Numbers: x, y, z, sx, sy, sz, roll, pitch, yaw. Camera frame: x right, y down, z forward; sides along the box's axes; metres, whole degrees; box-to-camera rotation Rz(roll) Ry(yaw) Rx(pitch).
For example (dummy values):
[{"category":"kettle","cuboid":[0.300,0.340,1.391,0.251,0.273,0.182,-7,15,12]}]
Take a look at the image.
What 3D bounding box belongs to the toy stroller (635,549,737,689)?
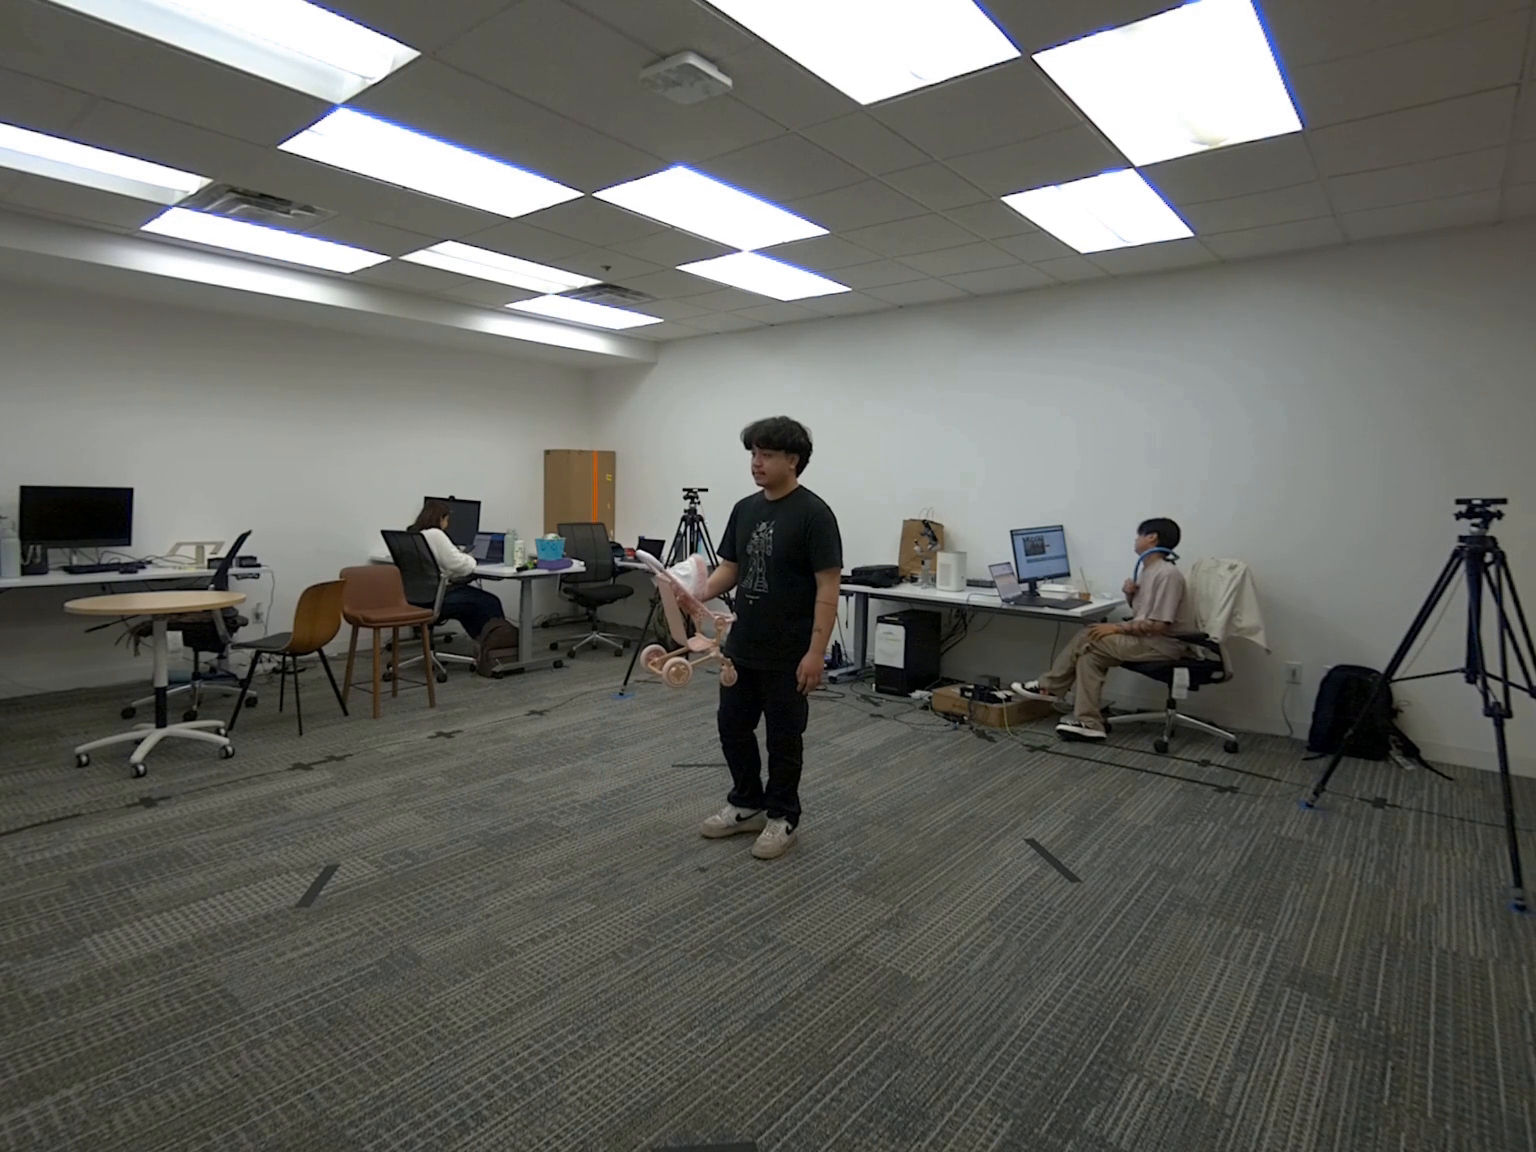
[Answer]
[{"category":"toy stroller","cuboid":[-0.296,0.158,3.101,0.335,0.532,0.288,-7,5,-19]}]
